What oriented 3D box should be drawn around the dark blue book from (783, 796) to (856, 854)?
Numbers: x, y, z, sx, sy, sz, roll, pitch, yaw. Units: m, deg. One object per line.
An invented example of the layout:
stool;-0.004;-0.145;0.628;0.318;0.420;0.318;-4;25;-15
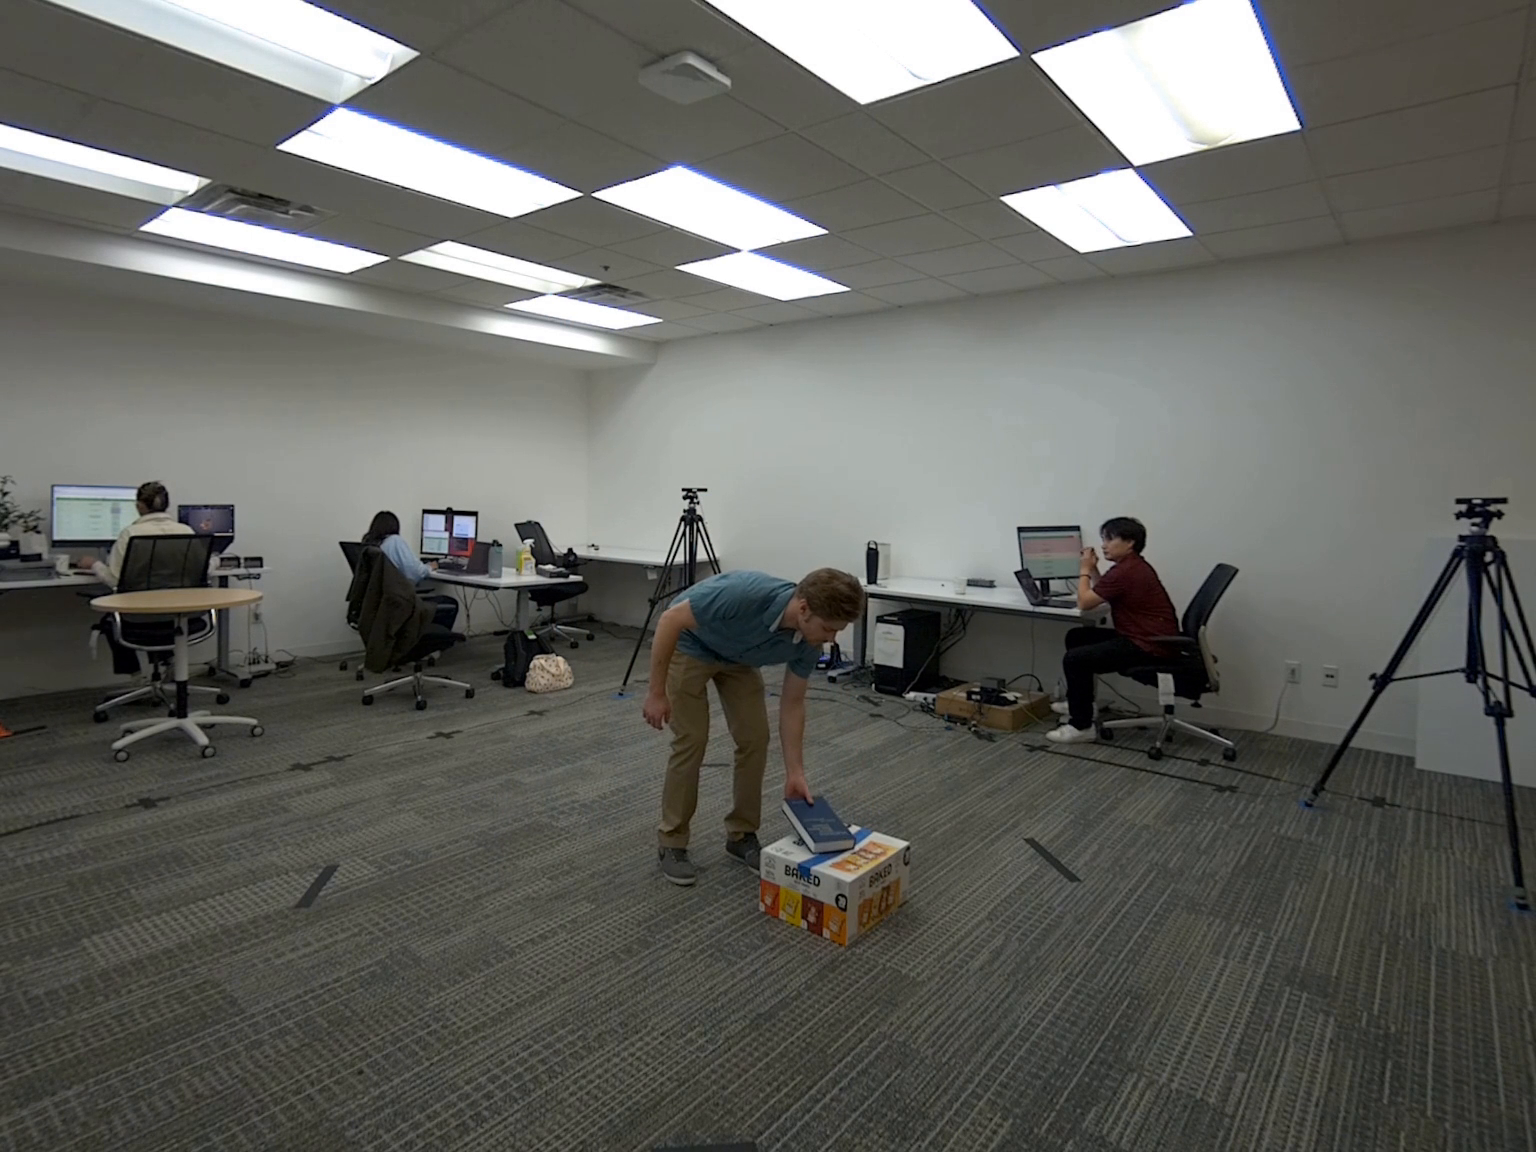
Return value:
dark blue book;0.171;0.856;2.925;0.160;0.044;0.254;5;19;-21
